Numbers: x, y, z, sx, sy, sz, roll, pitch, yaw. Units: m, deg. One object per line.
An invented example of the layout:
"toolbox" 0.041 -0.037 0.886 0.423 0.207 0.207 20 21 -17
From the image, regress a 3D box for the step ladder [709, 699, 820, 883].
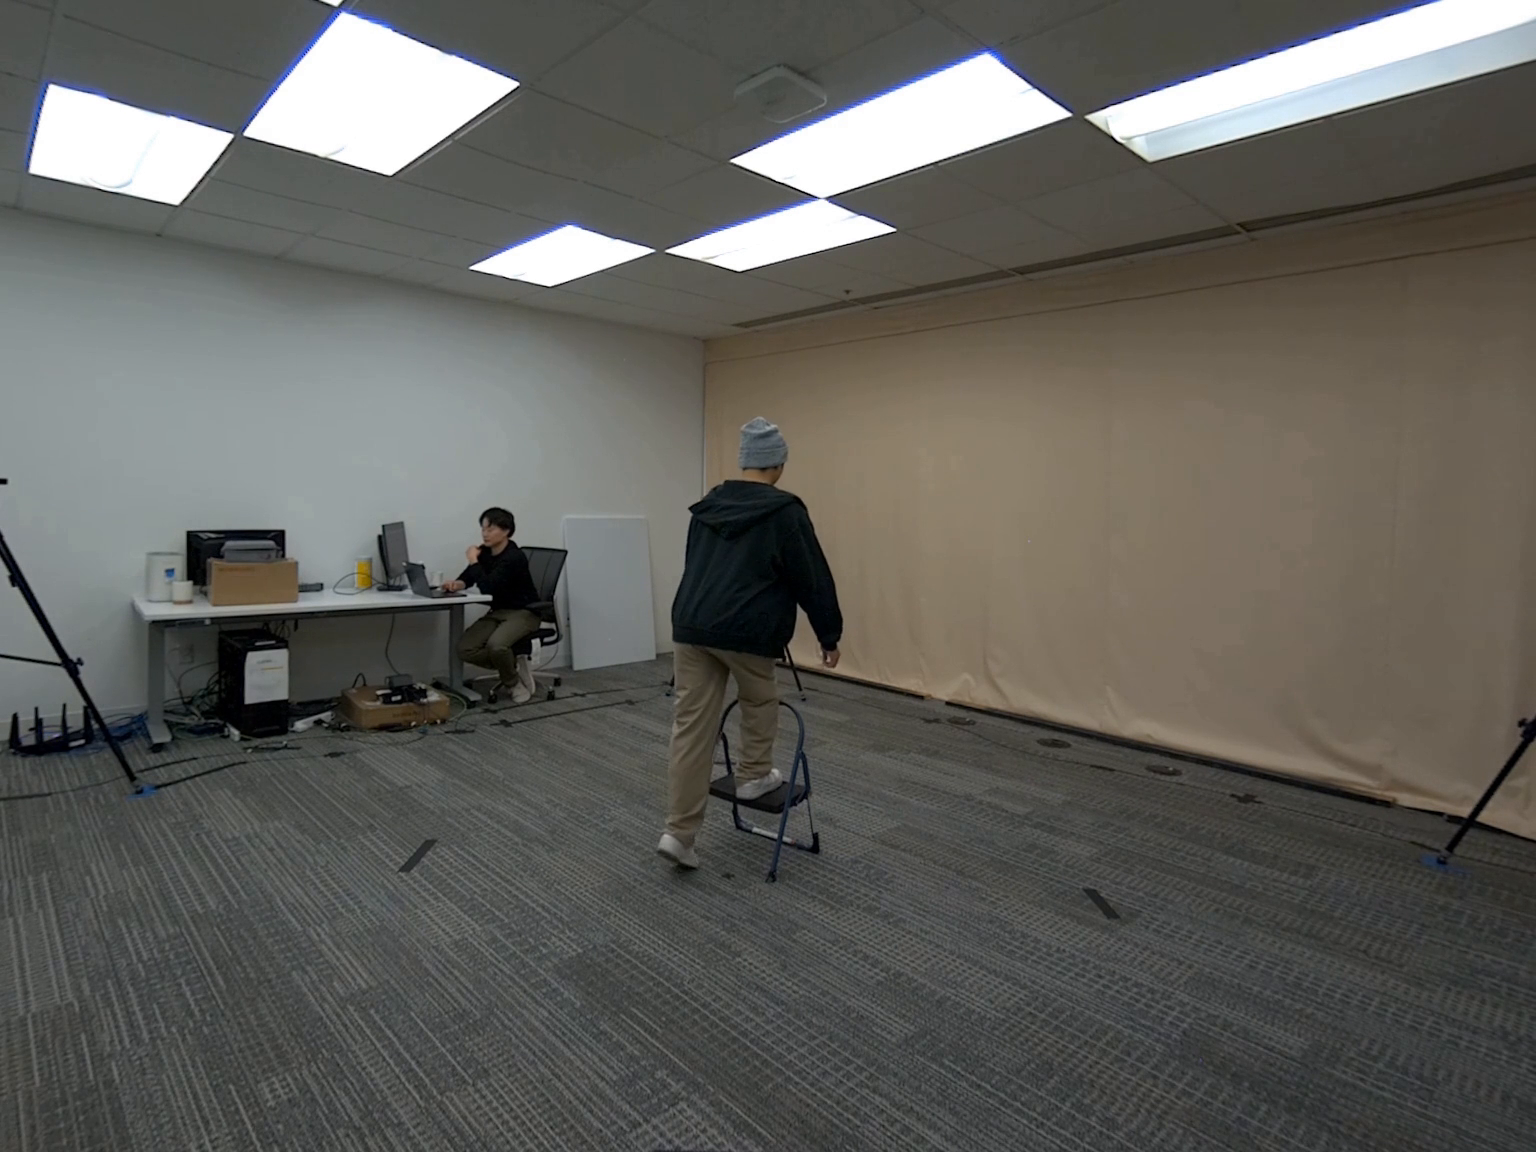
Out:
"step ladder" -0.054 0.792 3.308 0.441 0.604 0.342 4 4 36
